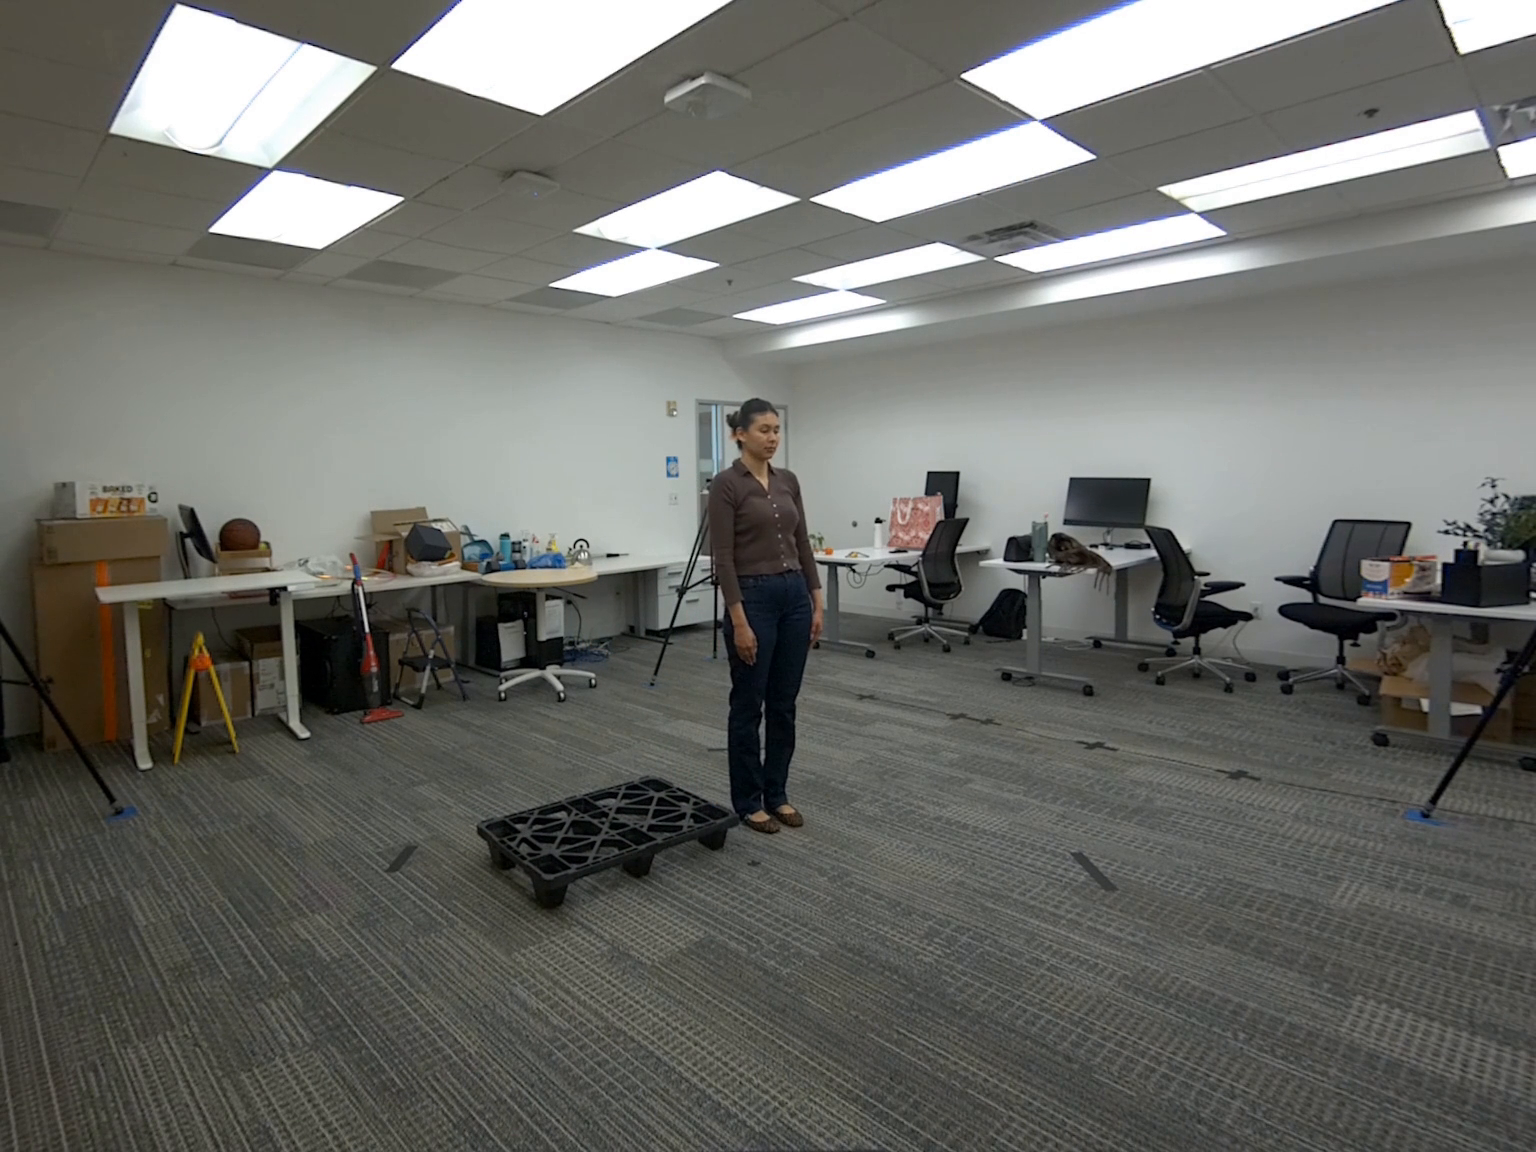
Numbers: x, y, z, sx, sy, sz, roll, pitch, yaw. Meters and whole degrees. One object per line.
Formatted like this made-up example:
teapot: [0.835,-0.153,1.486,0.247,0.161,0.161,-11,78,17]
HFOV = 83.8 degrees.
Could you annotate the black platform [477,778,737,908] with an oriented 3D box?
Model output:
black platform: [-0.590,0.979,3.200,0.785,0.142,0.624,-7,9,-39]
